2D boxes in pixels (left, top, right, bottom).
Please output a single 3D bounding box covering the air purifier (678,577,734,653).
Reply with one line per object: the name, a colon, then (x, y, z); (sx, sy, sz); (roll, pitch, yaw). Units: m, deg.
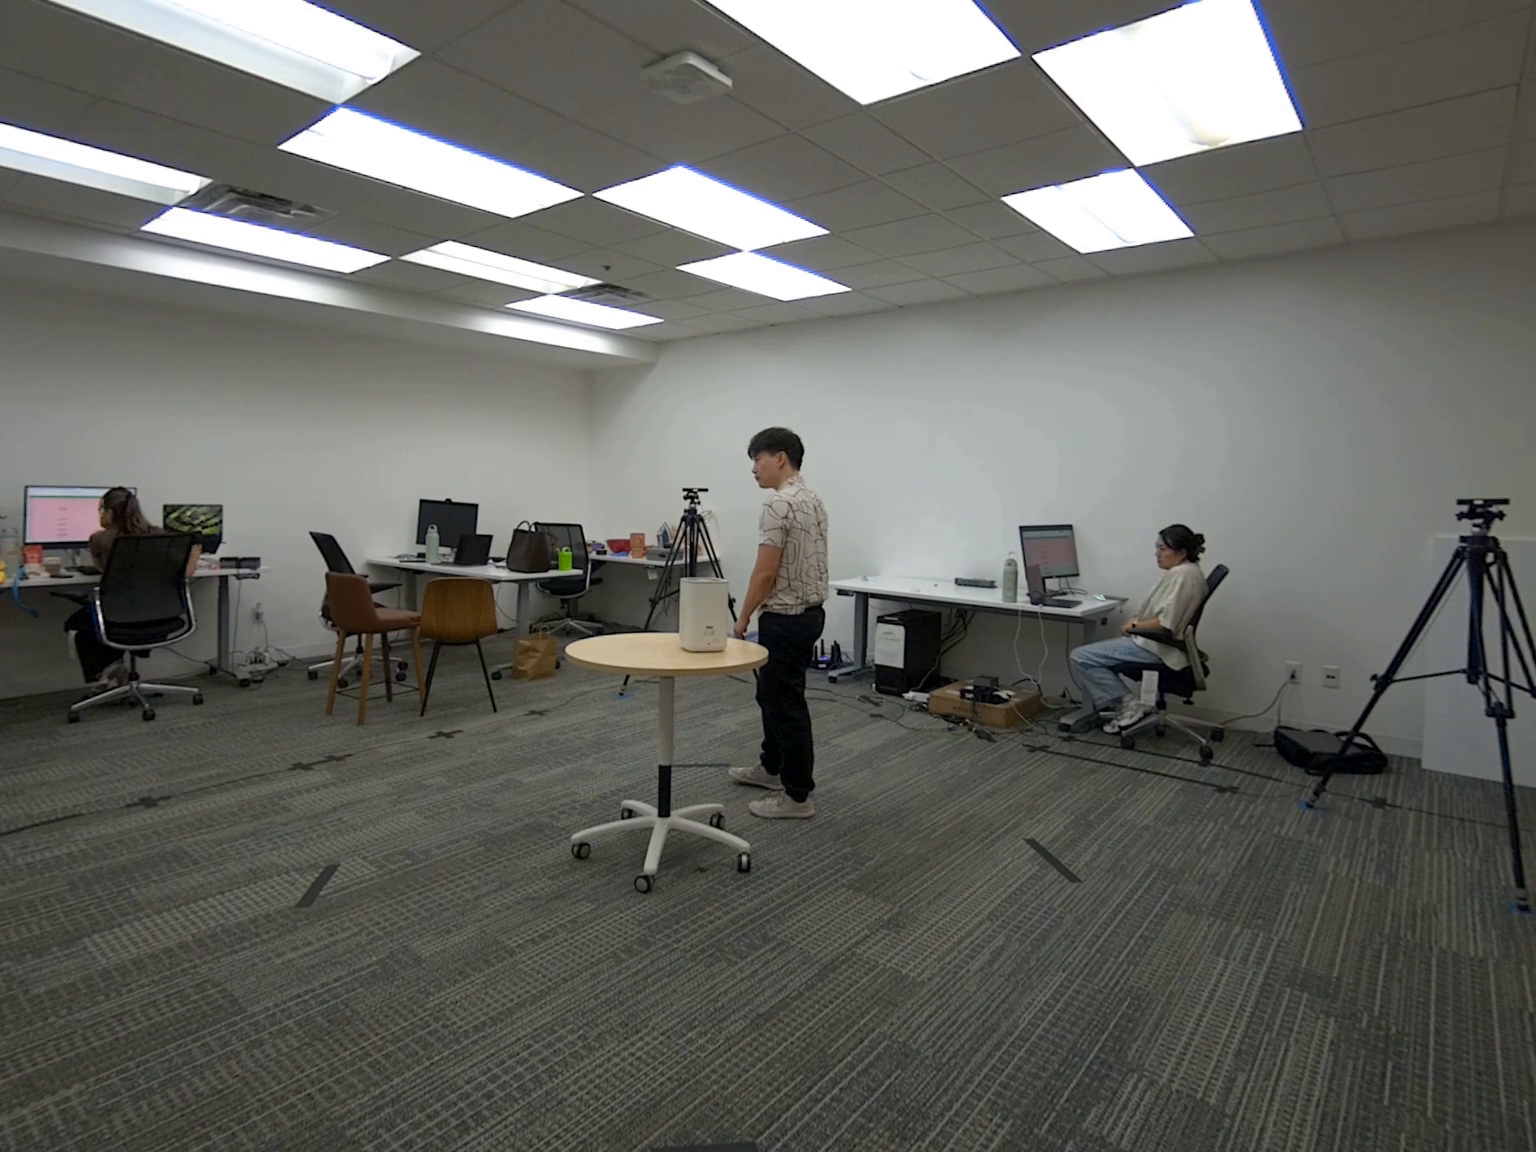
air purifier: (-0.257, 0.144, 3.234); (0.168, 0.265, 0.175); (1, 3, -16)
